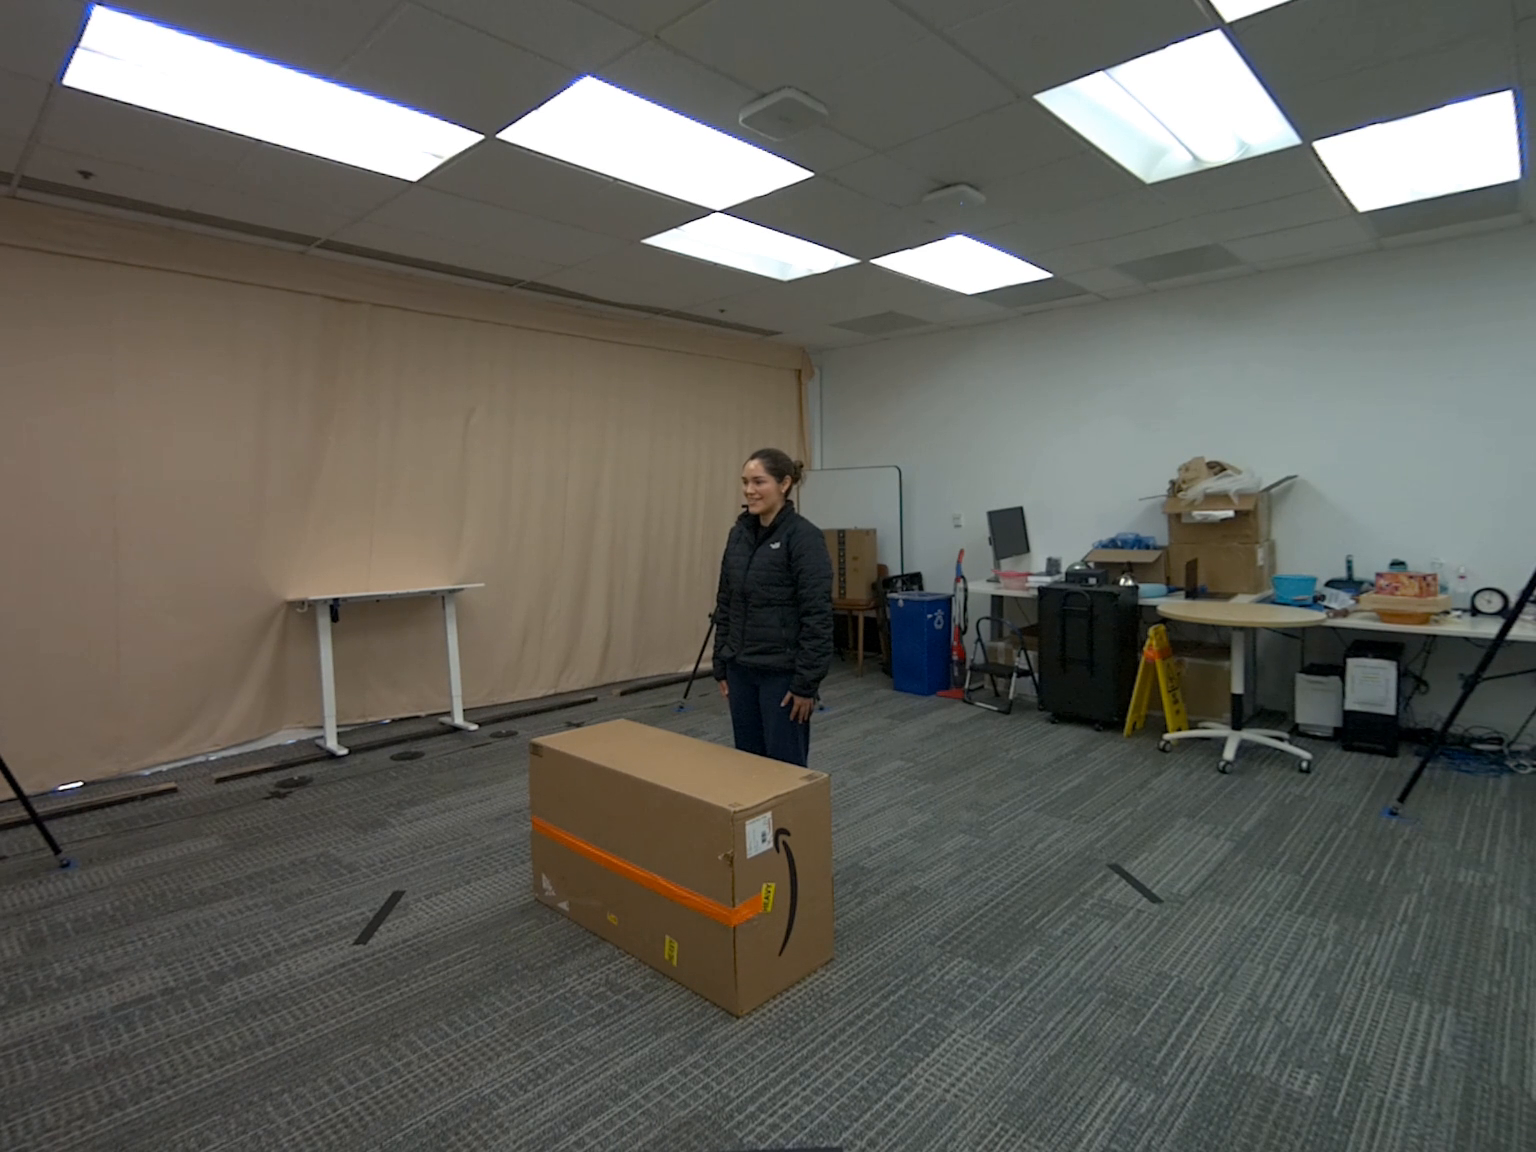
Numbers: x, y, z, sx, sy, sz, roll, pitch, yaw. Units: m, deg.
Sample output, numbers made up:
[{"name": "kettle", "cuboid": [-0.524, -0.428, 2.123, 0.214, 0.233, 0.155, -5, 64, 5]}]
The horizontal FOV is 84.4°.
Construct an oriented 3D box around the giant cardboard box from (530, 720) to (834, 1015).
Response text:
[{"name": "giant cardboard box", "cuboid": [-0.313, 0.879, 2.773, 1.061, 0.583, 0.433, 3, 4, 45]}]
